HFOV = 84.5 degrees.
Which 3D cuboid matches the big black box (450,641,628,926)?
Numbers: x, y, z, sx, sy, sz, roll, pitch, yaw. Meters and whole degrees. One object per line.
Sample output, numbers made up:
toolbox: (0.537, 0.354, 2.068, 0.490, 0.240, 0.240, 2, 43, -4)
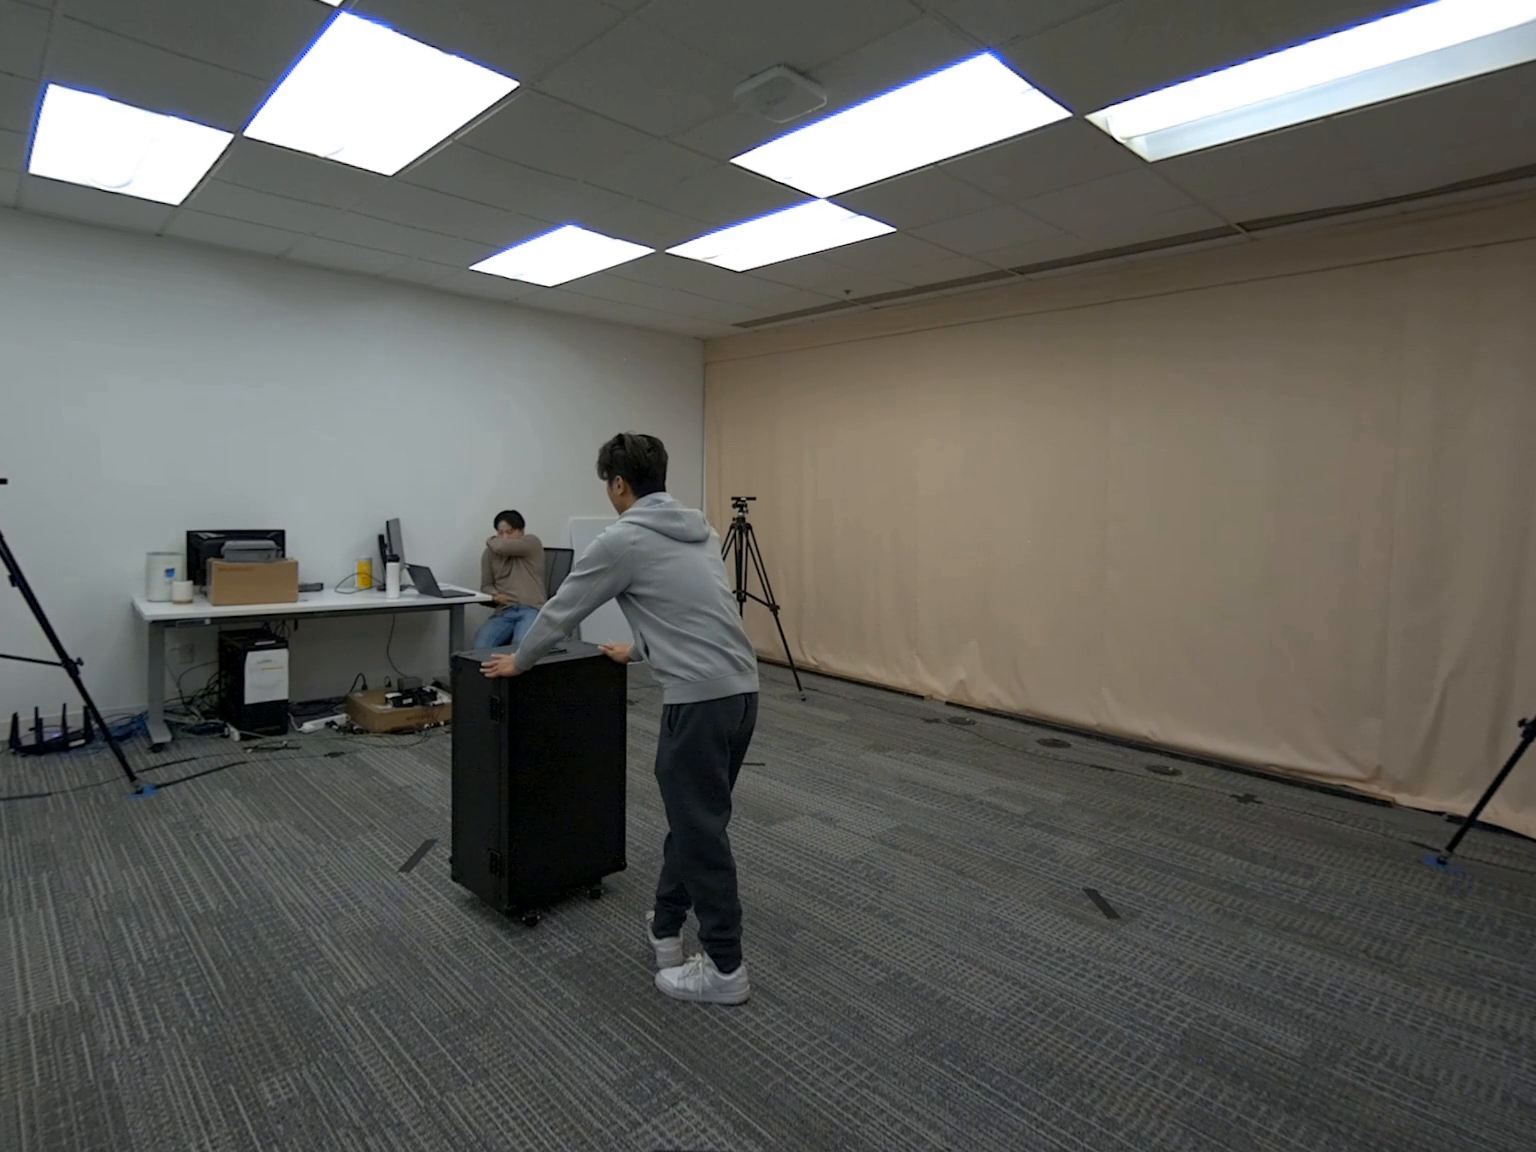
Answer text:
big black box: (-0.804, 0.687, 2.914, 0.406, 0.860, 0.509, 2, 3, 42)
